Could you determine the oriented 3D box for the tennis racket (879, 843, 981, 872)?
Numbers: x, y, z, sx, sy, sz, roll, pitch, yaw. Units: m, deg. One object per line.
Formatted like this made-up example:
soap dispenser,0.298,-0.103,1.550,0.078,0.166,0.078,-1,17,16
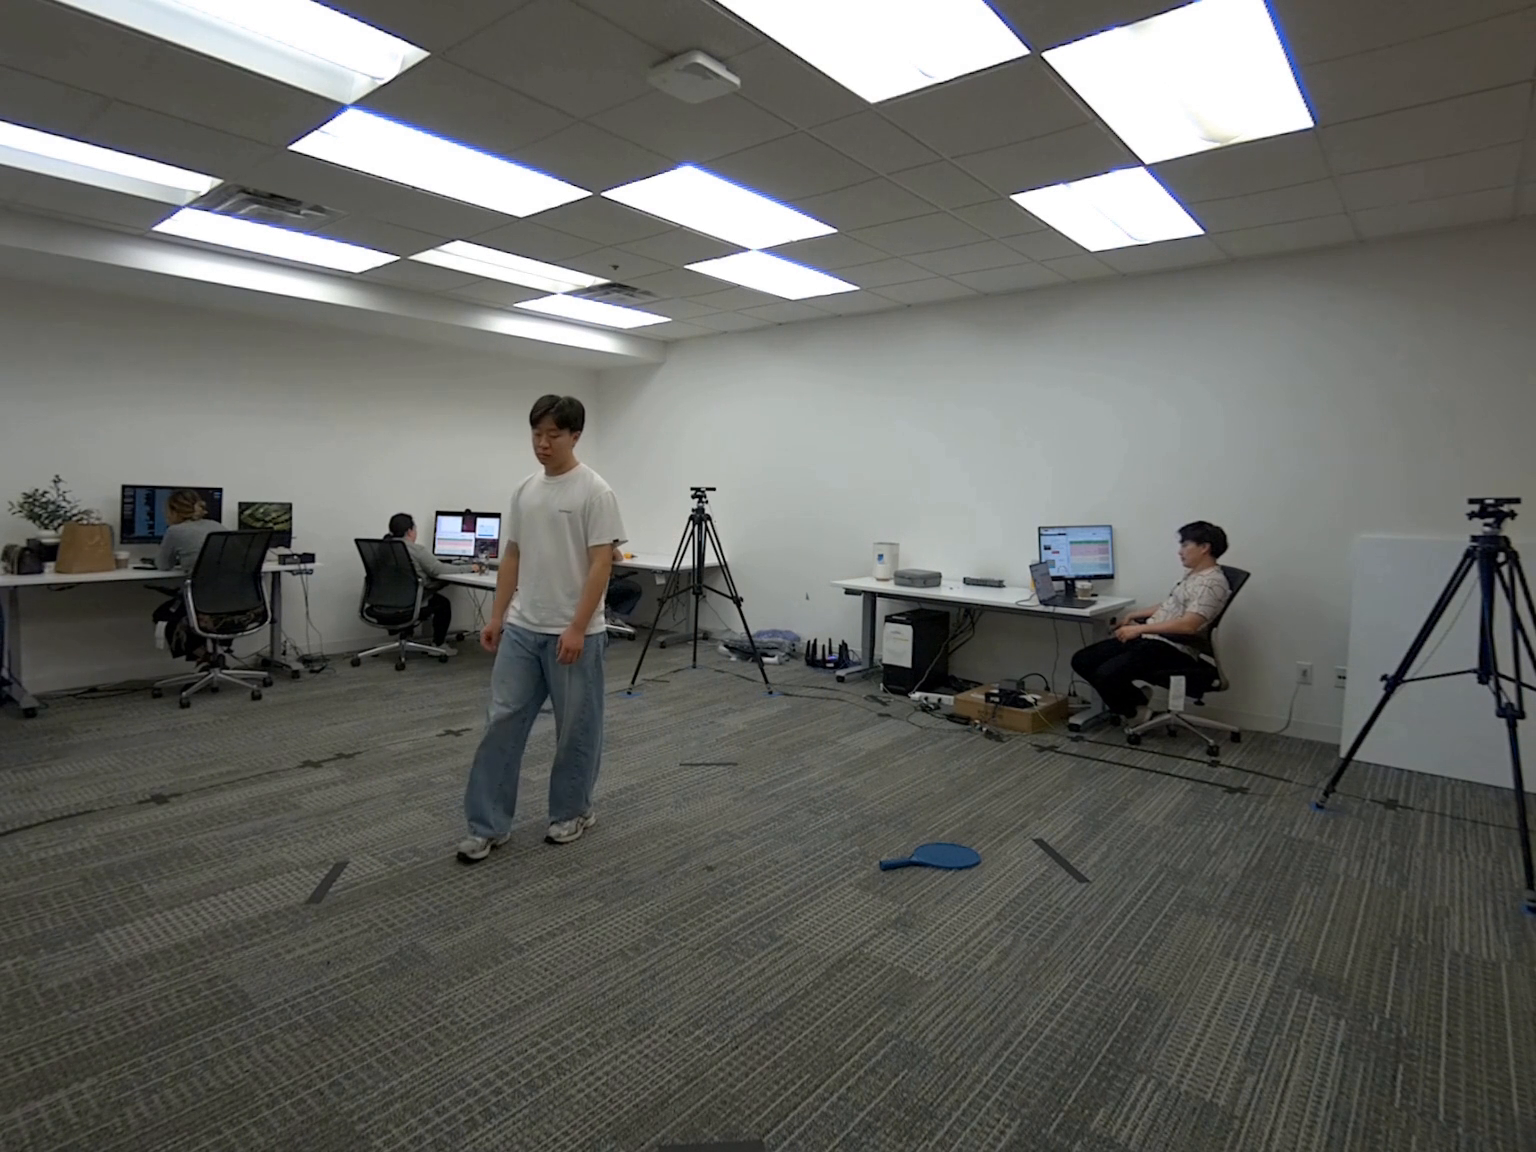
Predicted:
tennis racket,0.598,1.056,3.222,0.423,0.031,0.219,0,5,-23
